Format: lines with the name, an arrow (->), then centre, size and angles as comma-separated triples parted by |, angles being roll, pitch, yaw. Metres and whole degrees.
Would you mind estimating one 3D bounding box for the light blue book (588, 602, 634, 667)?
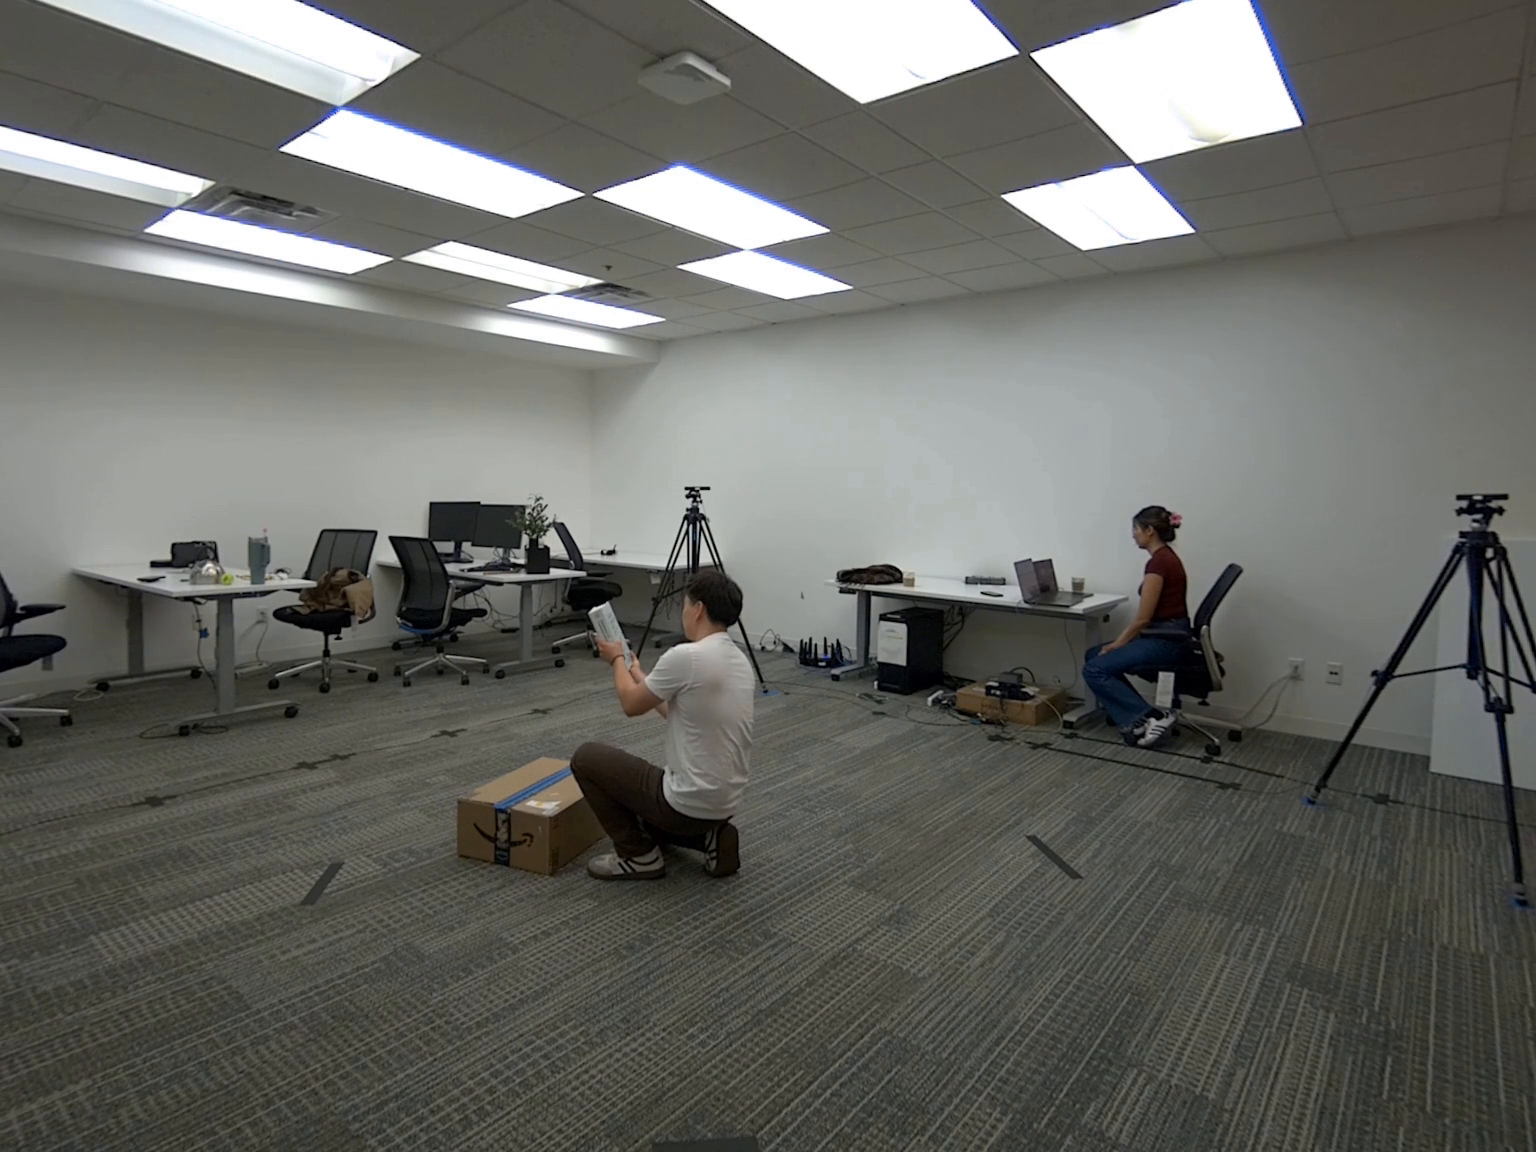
light blue book -> -0.621, 0.234, 3.328 | 0.059, 0.260, 0.192 | -24, 4, -1
